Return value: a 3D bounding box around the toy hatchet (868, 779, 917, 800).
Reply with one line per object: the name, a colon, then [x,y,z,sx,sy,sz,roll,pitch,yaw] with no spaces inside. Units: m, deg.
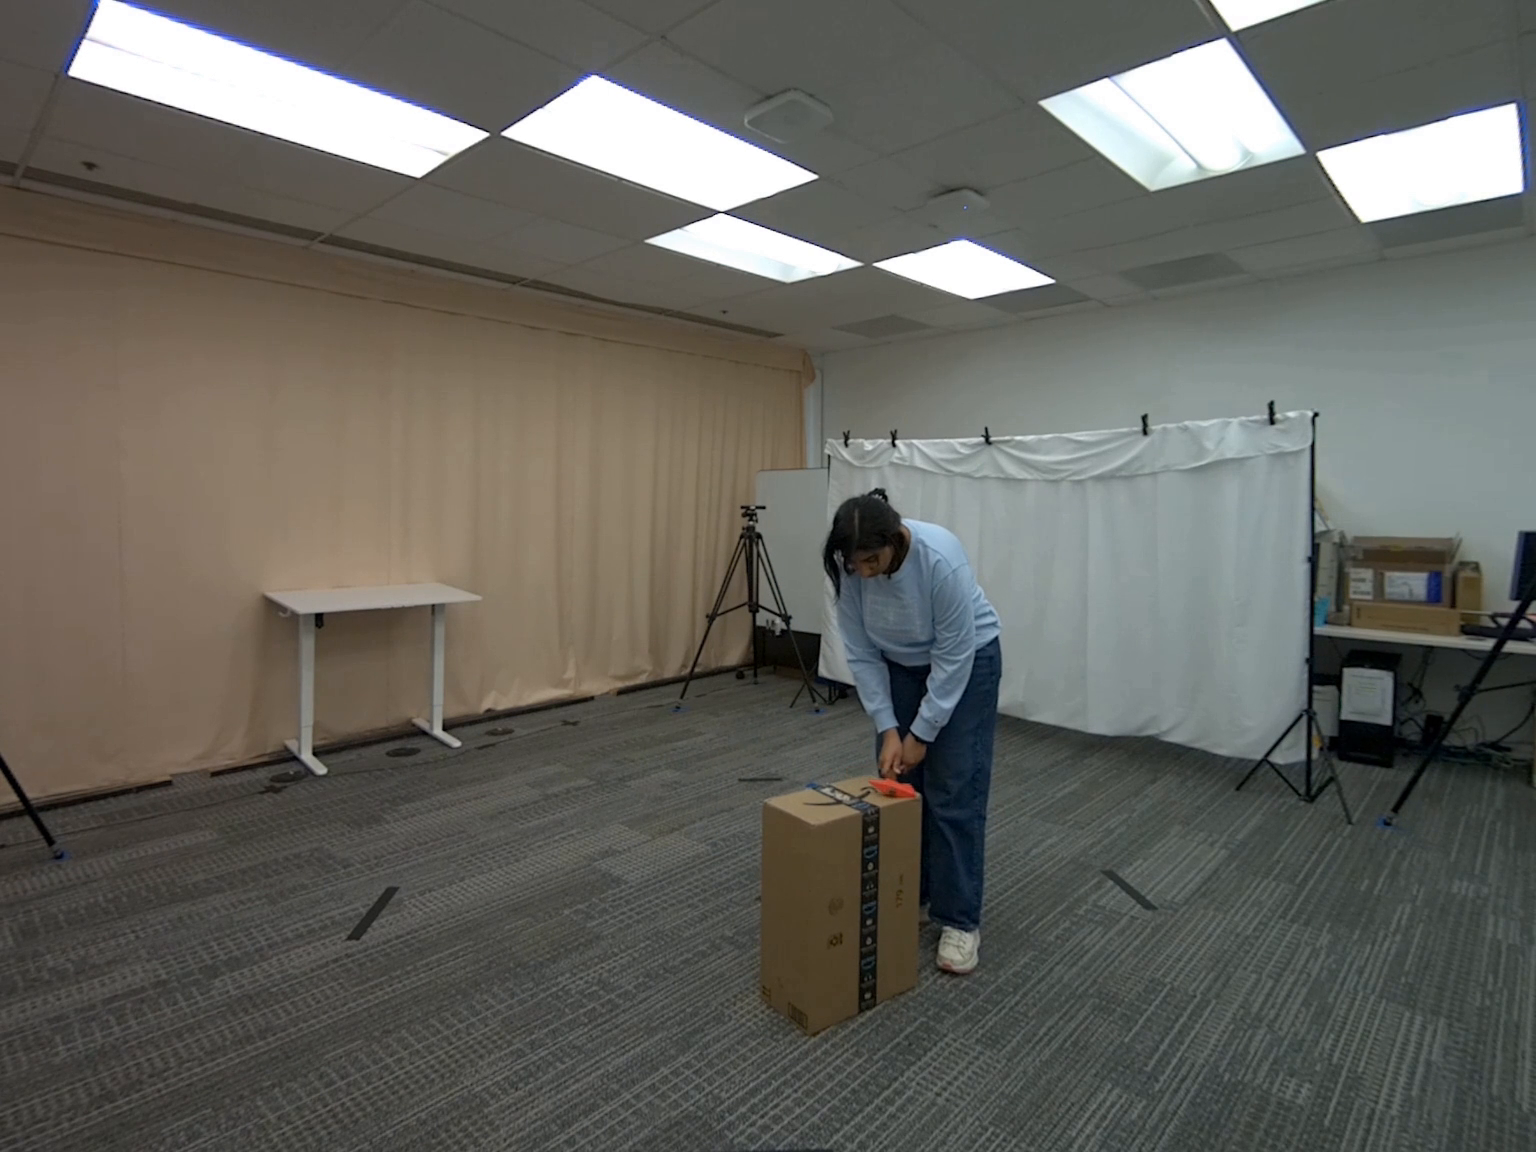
toy hatchet: [0.422,0.612,2.505,0.135,0.029,0.262,13,9,34]
